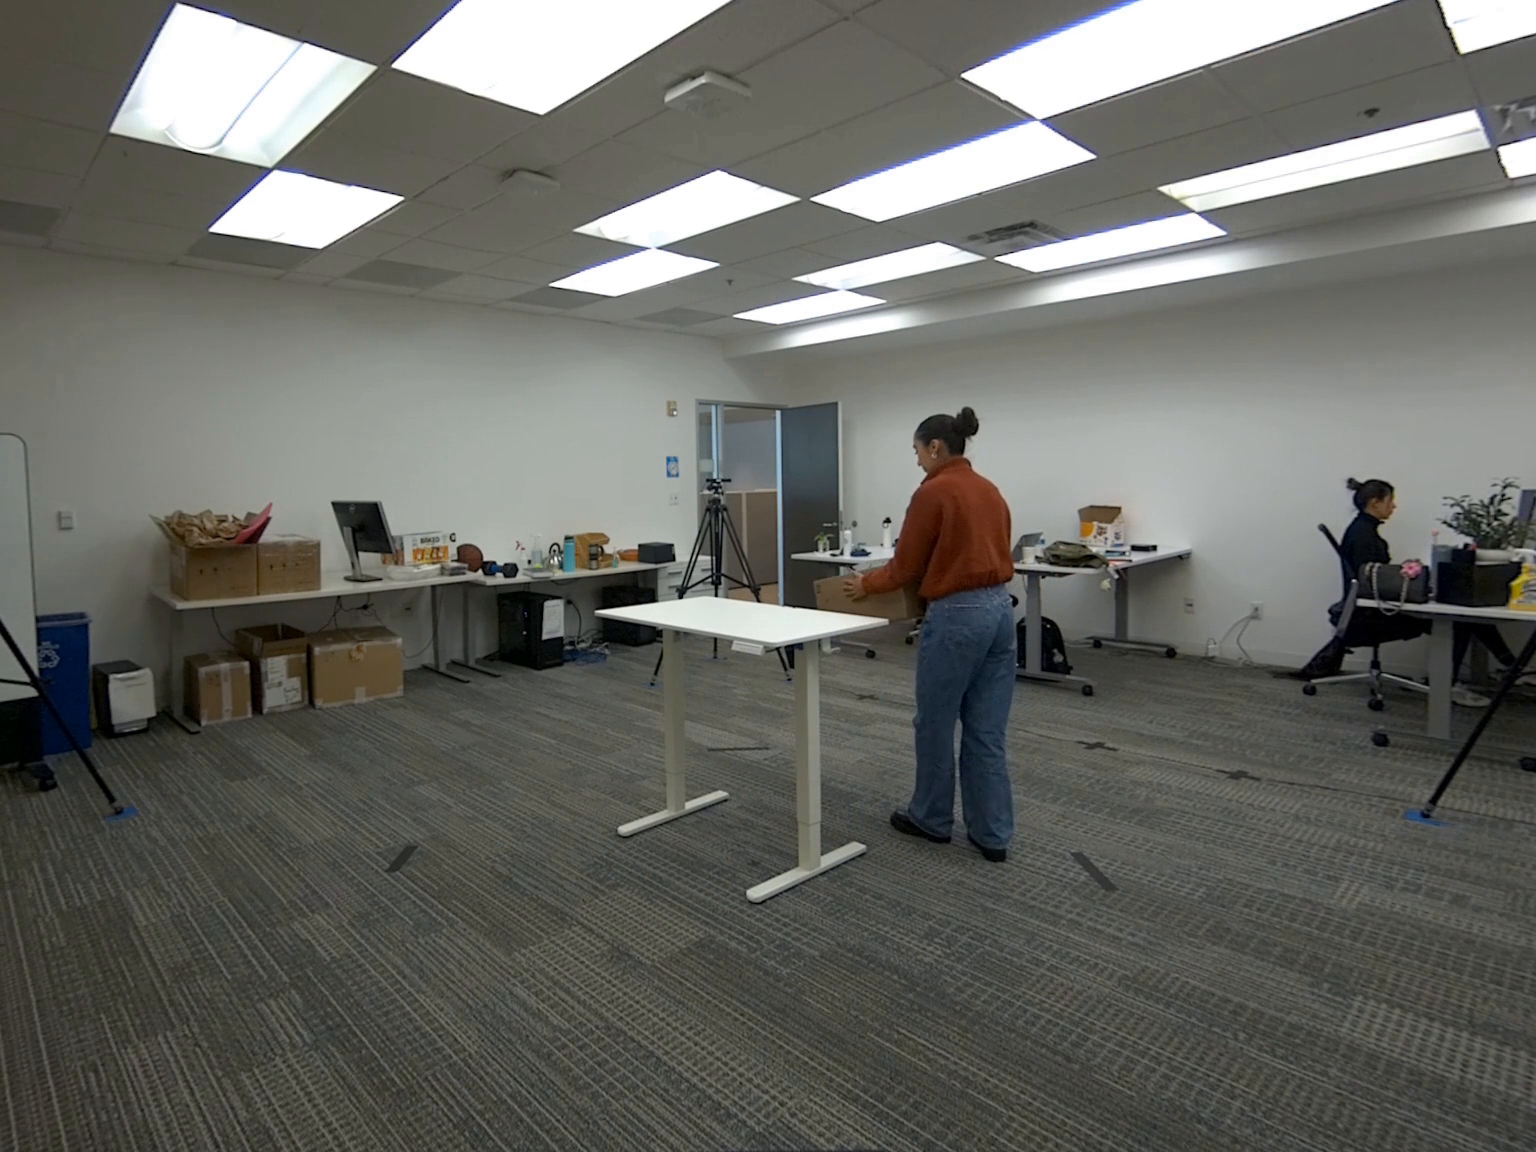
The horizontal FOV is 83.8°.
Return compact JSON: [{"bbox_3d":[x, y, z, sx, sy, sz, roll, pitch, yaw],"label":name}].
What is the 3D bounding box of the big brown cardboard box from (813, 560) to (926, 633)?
[{"bbox_3d":[0.538,0.069,3.538,0.408,0.235,0.598,-5,-6,-30],"label":"big brown cardboard box"}]
